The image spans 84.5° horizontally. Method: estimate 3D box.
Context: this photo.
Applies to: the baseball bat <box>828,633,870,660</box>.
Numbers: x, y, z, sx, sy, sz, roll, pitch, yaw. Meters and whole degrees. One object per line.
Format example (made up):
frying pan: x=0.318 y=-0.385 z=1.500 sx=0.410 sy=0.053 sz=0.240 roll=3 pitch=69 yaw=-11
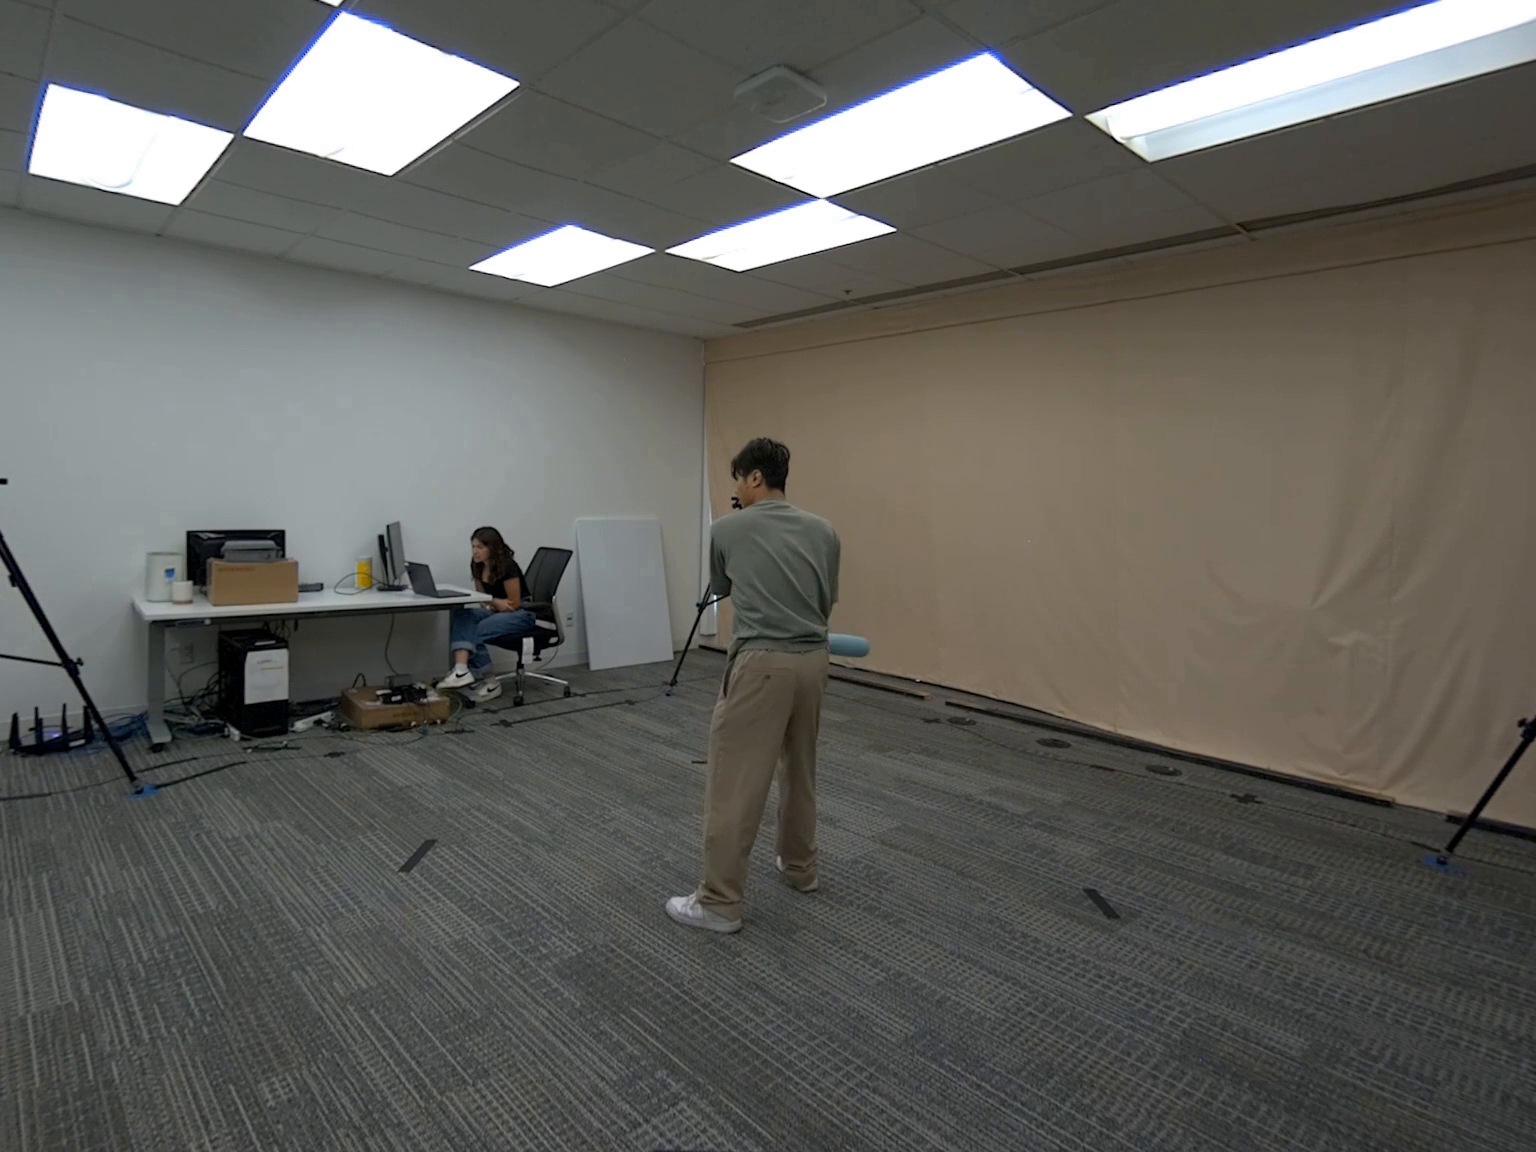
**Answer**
baseball bat: x=0.194 y=0.261 z=3.364 sx=0.529 sy=0.089 sz=0.091 roll=8 pitch=-1 yaw=-37
